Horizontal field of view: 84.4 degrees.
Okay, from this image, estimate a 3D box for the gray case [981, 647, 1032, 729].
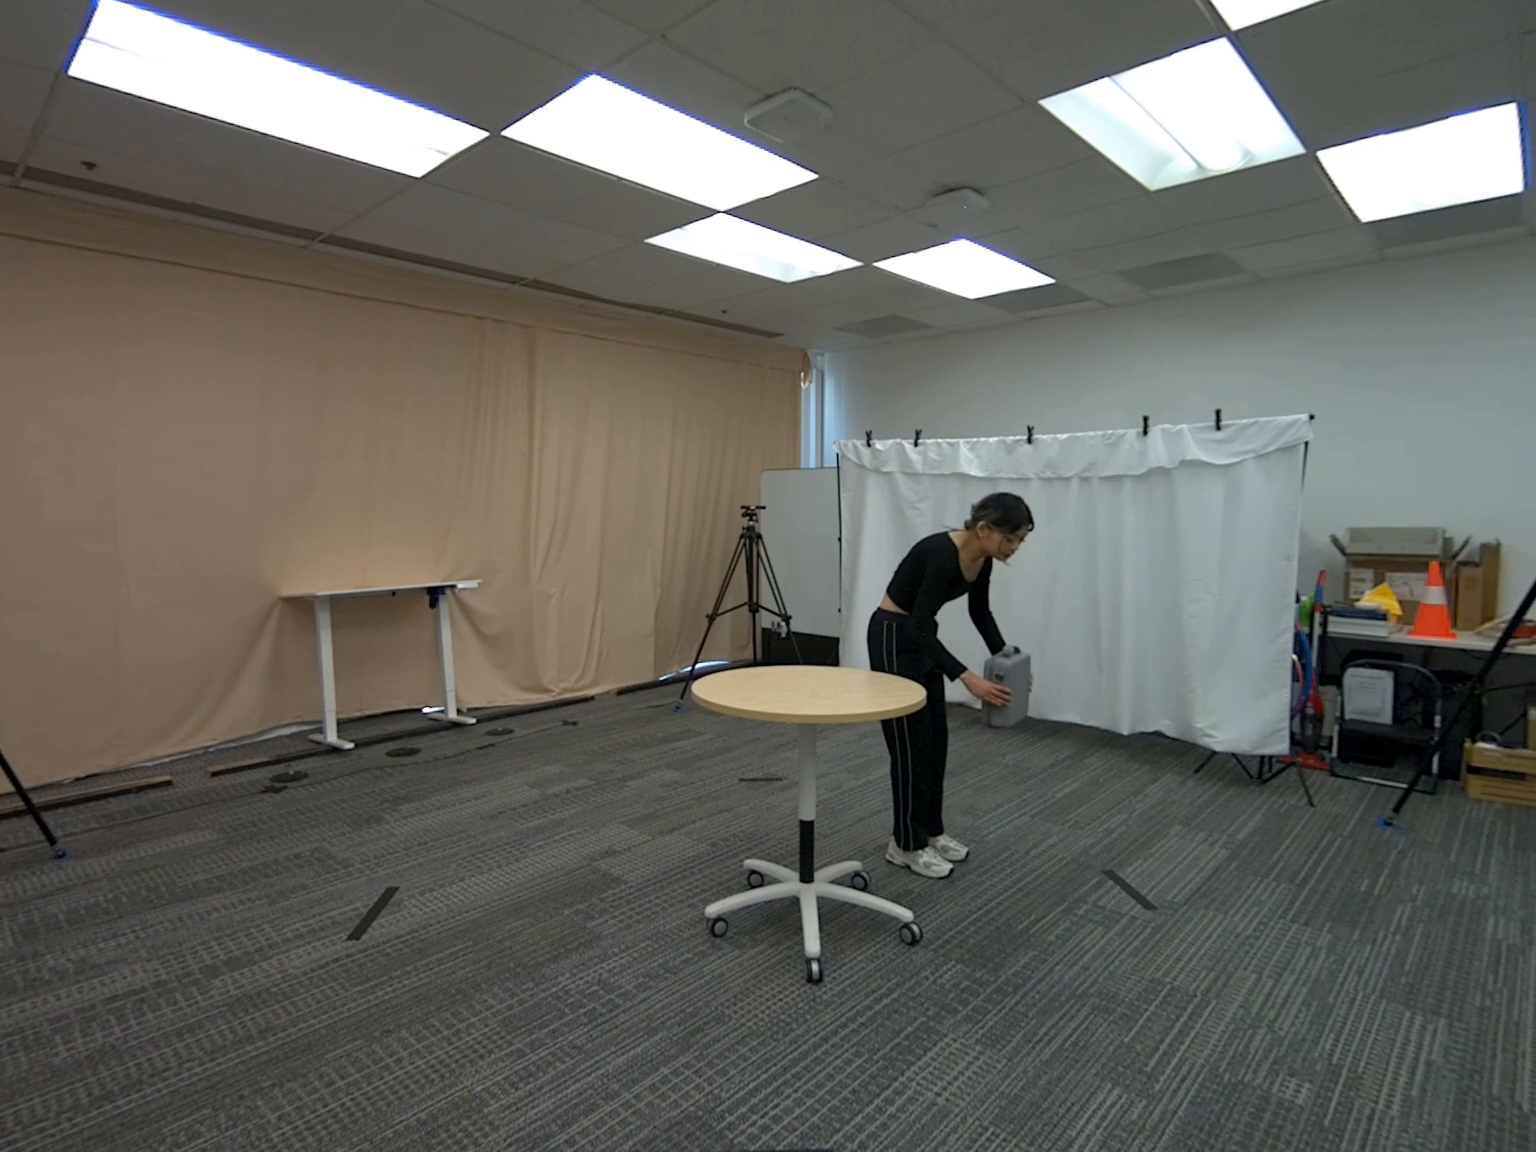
[{"bbox_3d":[0.876,0.409,3.090,0.108,0.260,0.249,7,7,40],"label":"gray case"}]
